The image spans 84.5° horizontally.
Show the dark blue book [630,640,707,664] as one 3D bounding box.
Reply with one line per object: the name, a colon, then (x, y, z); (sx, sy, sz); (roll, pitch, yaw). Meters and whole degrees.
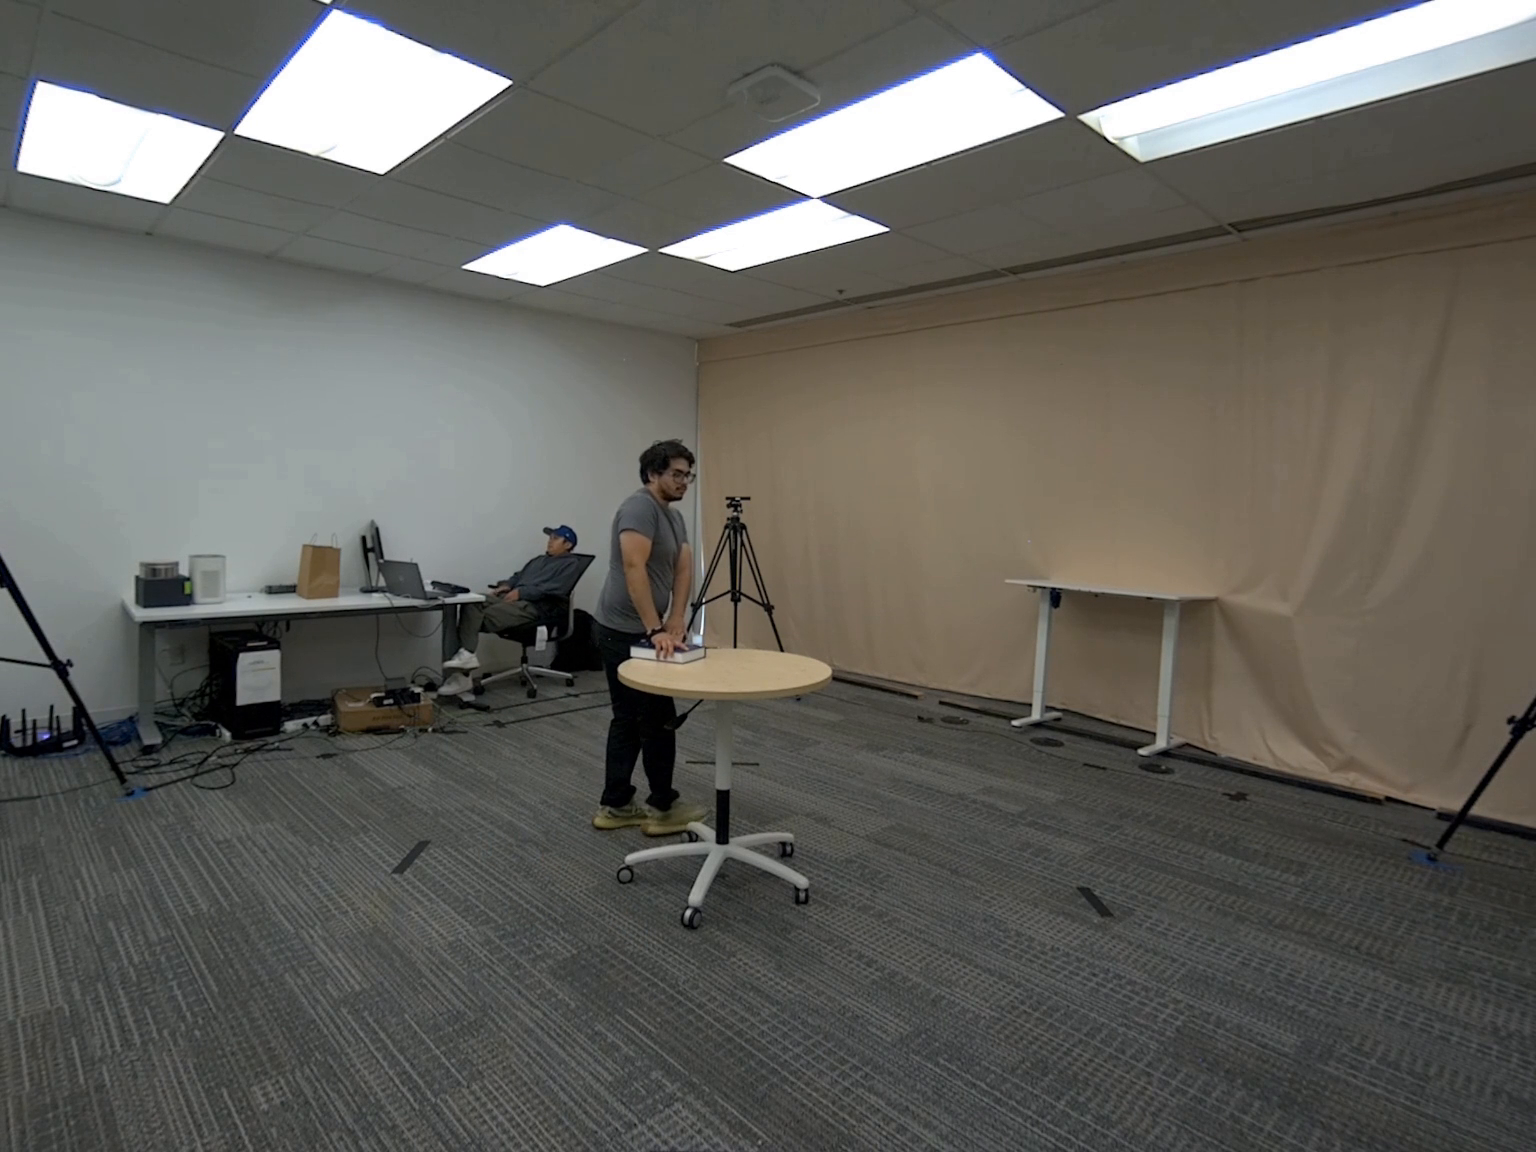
dark blue book: (-0.379, 0.292, 3.204); (0.250, 0.045, 0.161); (3, 5, 25)
